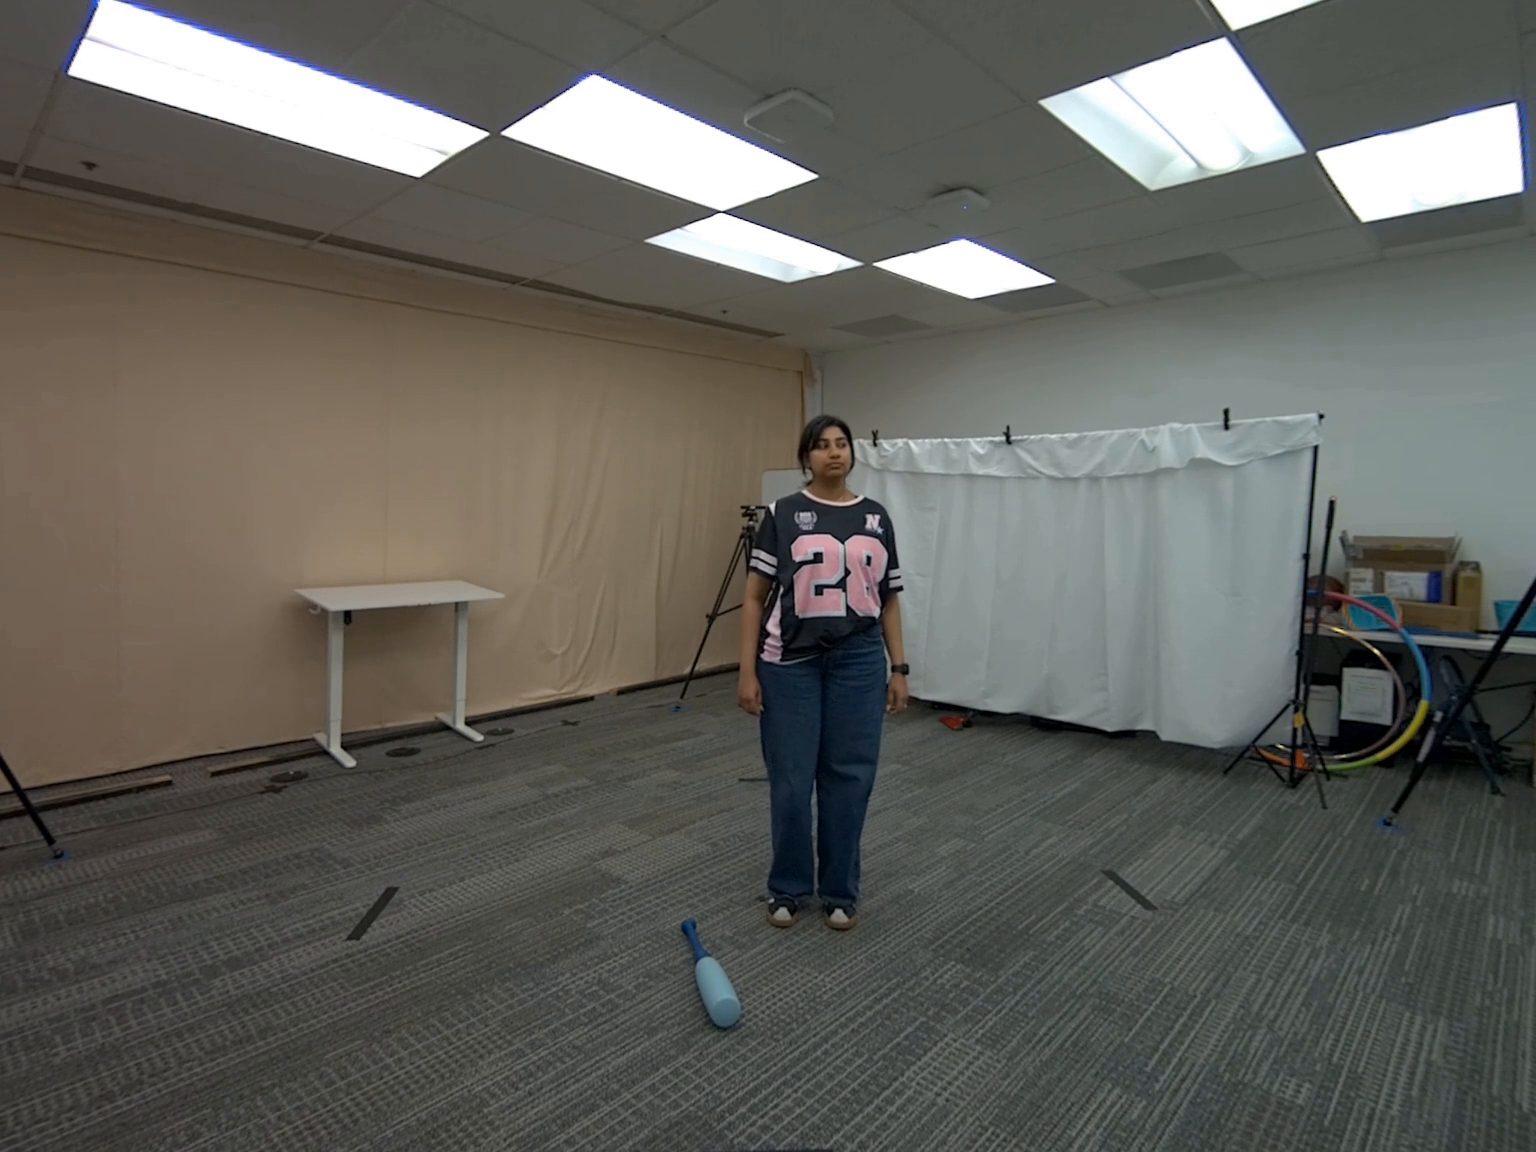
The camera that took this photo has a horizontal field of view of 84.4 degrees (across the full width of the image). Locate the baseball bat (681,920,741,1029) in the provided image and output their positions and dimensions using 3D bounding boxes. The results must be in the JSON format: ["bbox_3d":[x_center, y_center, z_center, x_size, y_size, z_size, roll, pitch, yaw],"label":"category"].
[{"bbox_3d":[-0.183,1.154,2.479,0.088,0.089,0.551,-1,1,-15],"label":"baseball bat"}]
